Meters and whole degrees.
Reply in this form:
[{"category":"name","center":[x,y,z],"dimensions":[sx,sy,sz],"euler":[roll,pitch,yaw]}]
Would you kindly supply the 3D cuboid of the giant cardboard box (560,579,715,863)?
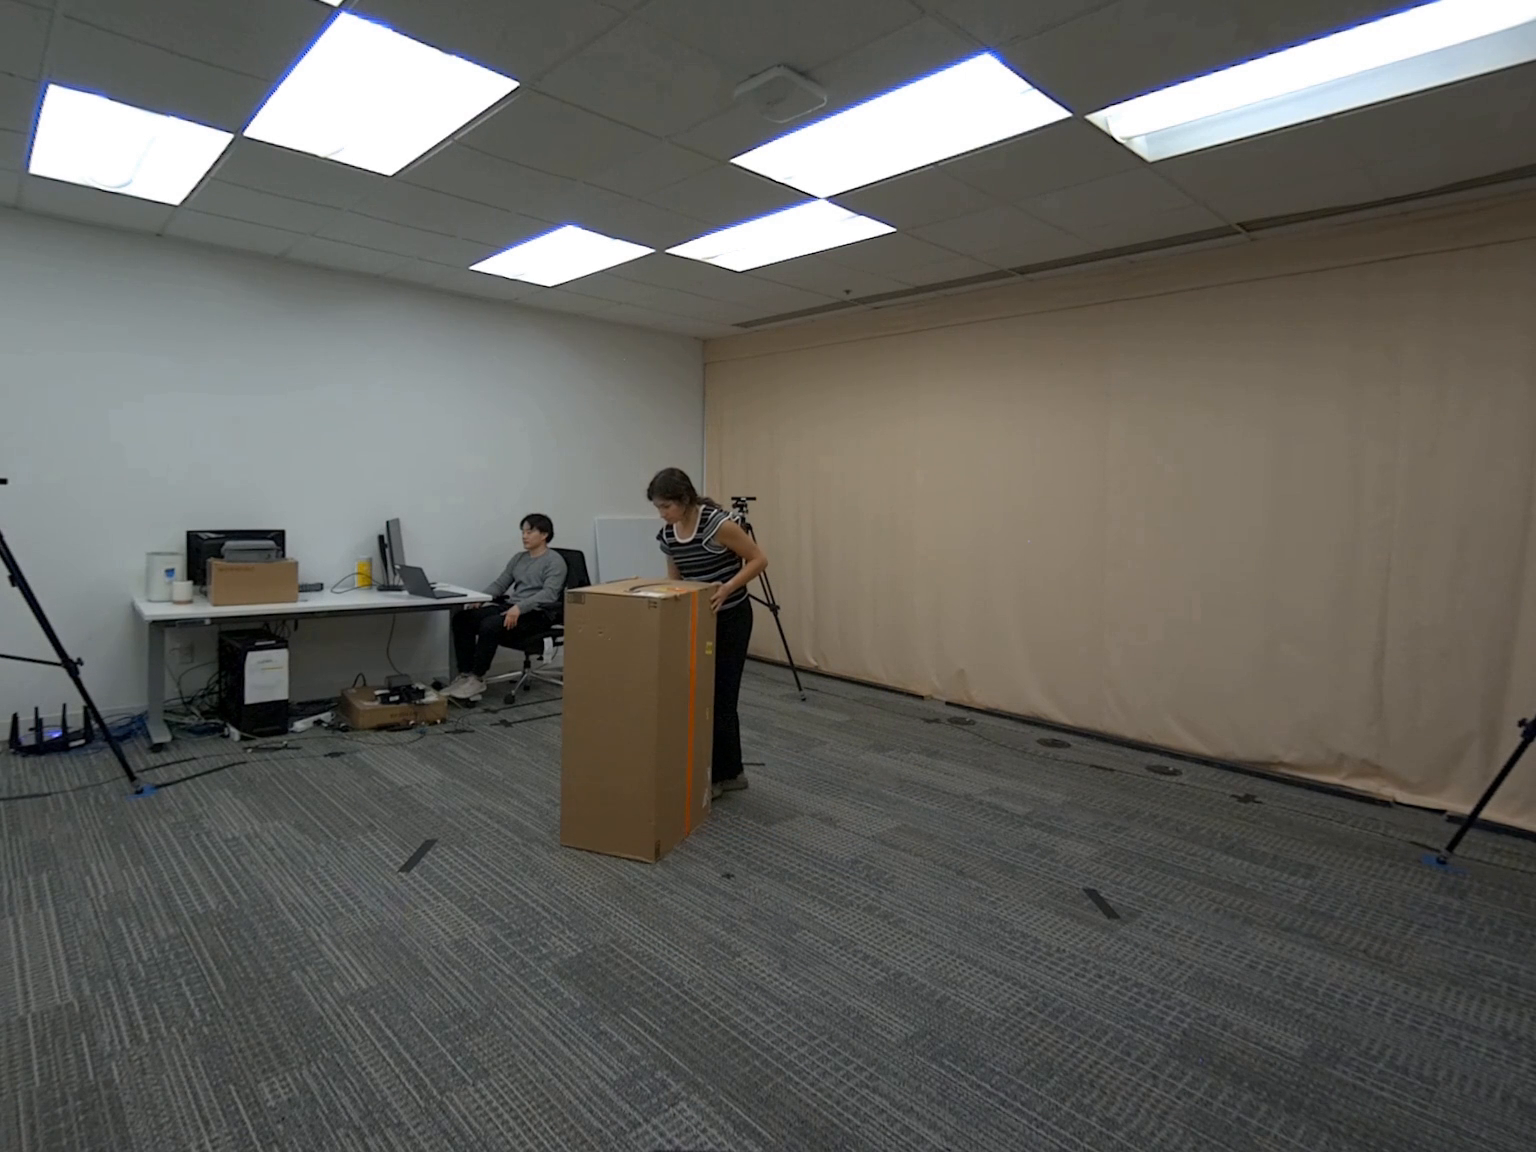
[{"category":"giant cardboard box","center":[-0.535,0.553,3.497],"dimensions":[0.433,1.023,0.569],"euler":[3,4,20]}]
